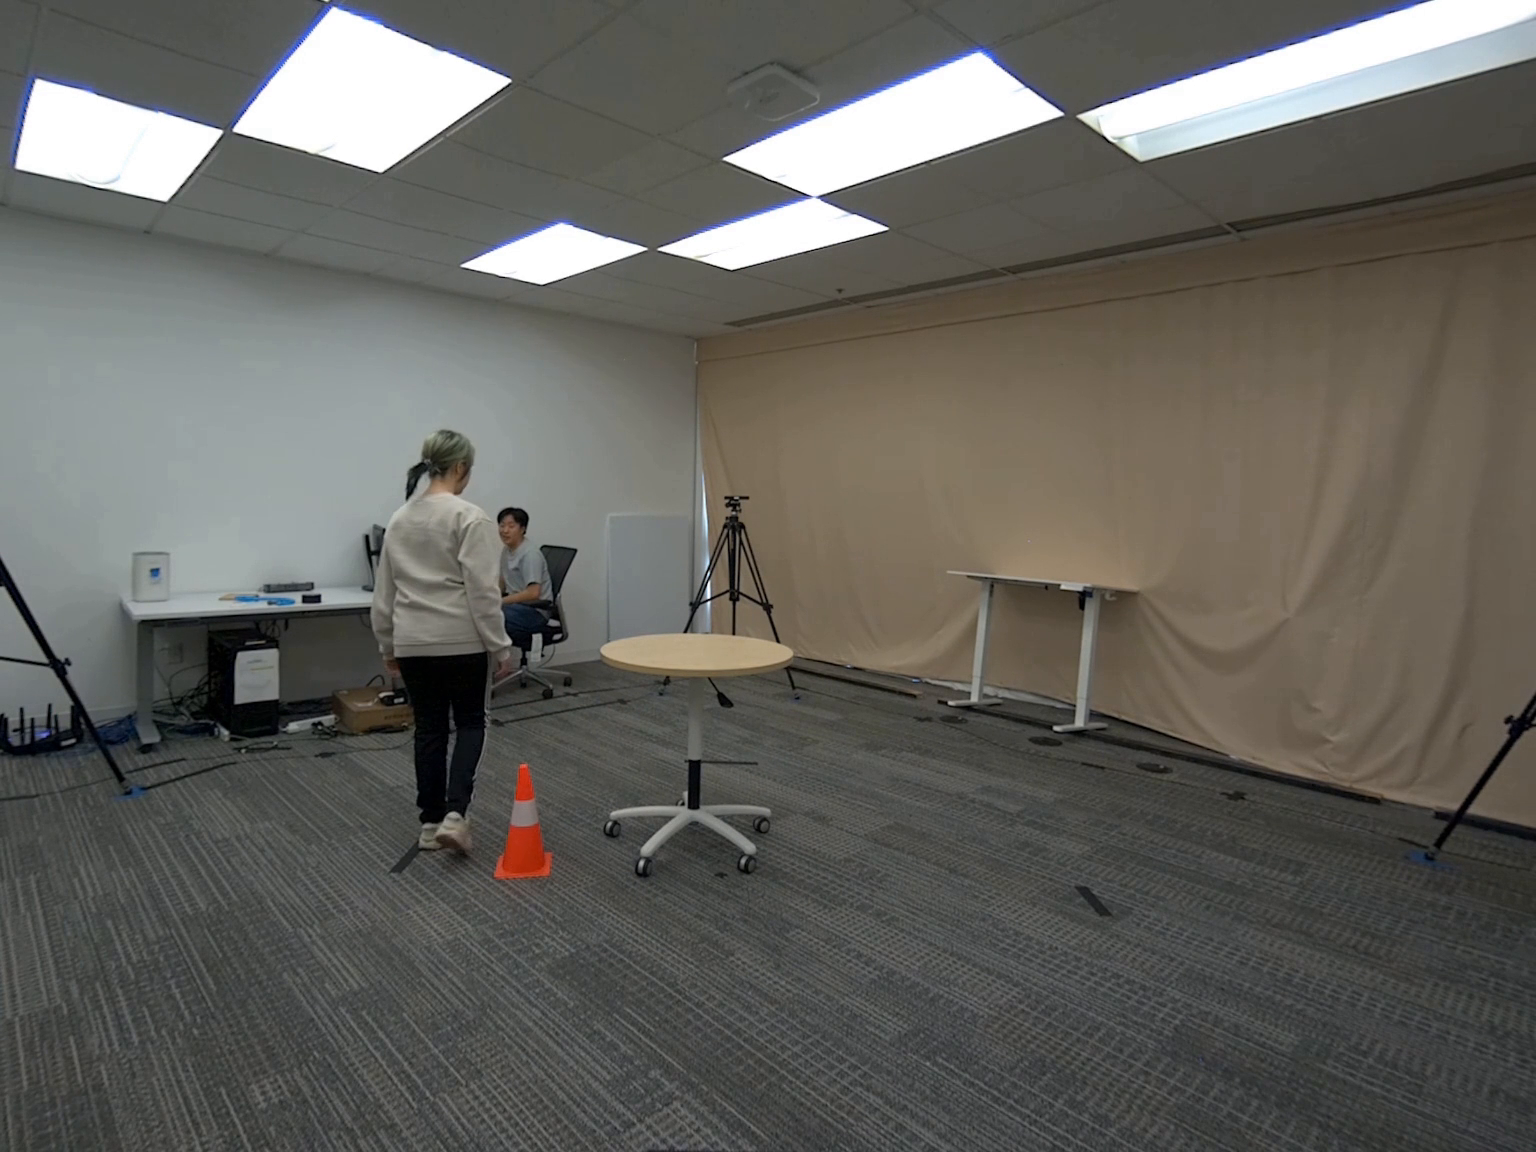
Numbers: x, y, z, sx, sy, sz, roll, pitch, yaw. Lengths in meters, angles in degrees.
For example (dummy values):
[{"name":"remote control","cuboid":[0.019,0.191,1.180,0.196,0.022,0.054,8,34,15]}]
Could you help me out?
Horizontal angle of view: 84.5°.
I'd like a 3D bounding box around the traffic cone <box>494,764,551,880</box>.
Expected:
[{"name":"traffic cone","cuboid":[-0.929,0.904,3.132,0.203,0.383,0.205,-2,2,-12]}]
